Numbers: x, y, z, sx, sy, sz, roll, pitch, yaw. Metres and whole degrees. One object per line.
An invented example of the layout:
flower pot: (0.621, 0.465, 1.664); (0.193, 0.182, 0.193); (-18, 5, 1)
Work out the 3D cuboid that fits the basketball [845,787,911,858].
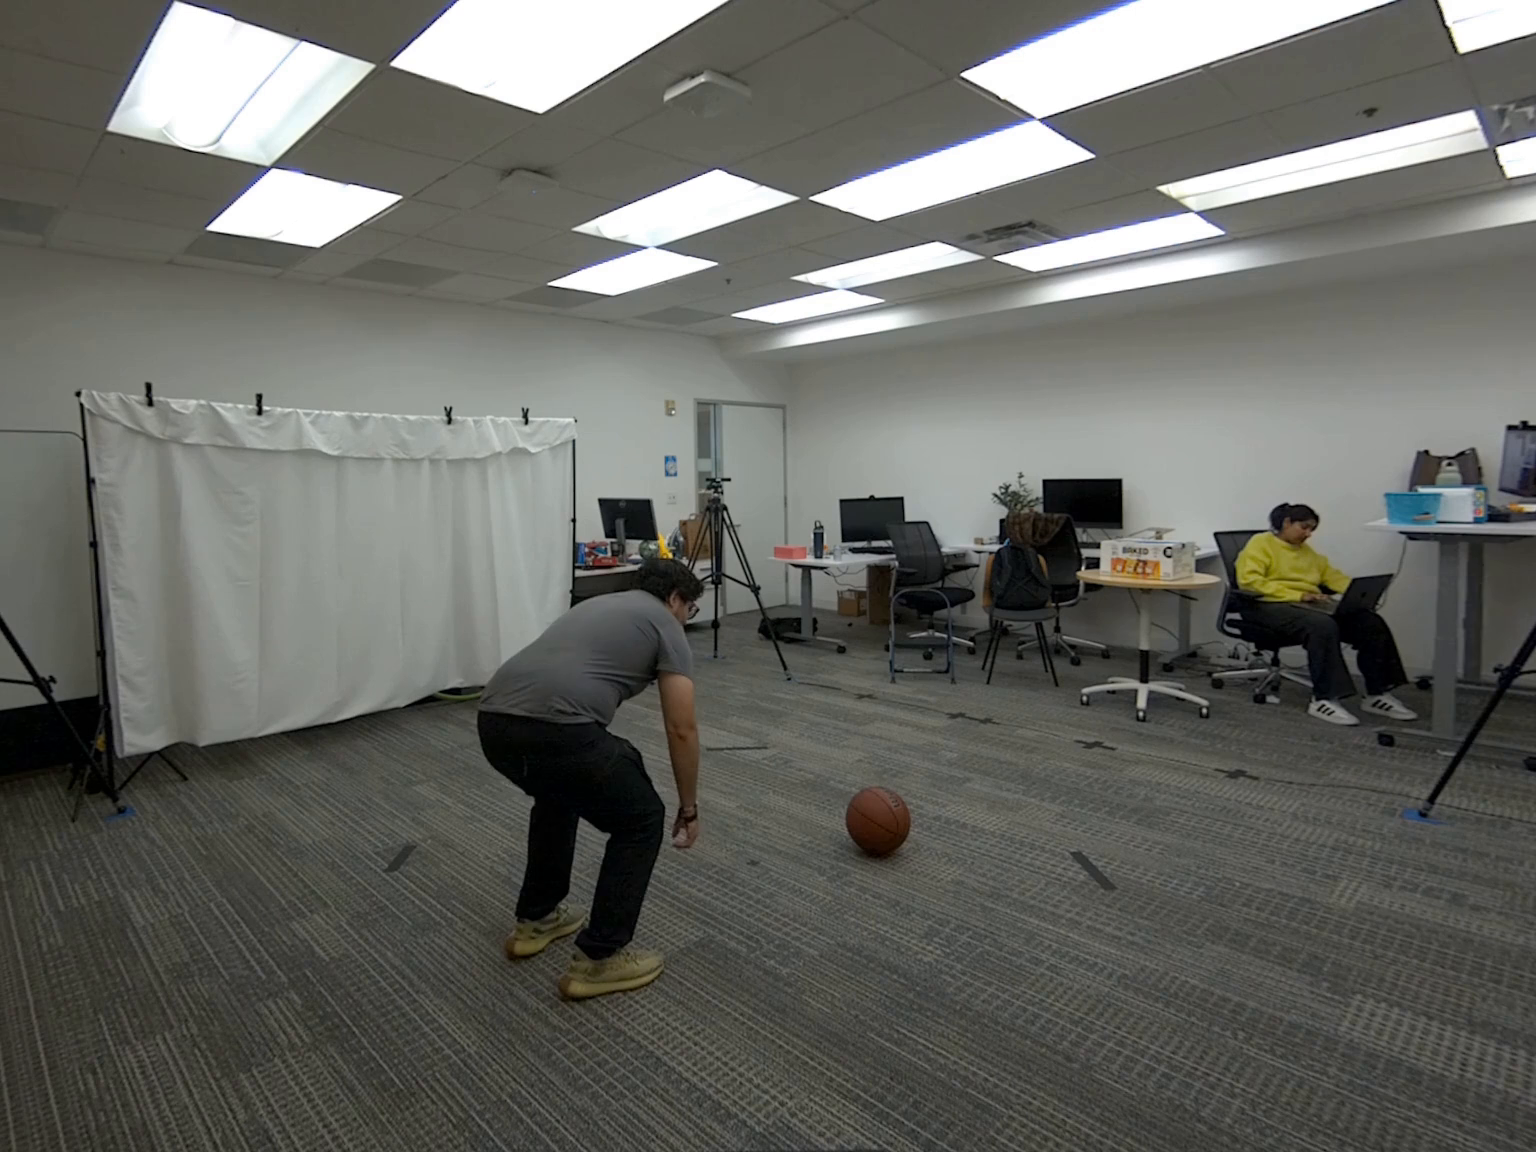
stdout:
basketball: (0.415, 0.908, 3.177); (0.236, 0.235, 0.237); (-1, 5, -2)
